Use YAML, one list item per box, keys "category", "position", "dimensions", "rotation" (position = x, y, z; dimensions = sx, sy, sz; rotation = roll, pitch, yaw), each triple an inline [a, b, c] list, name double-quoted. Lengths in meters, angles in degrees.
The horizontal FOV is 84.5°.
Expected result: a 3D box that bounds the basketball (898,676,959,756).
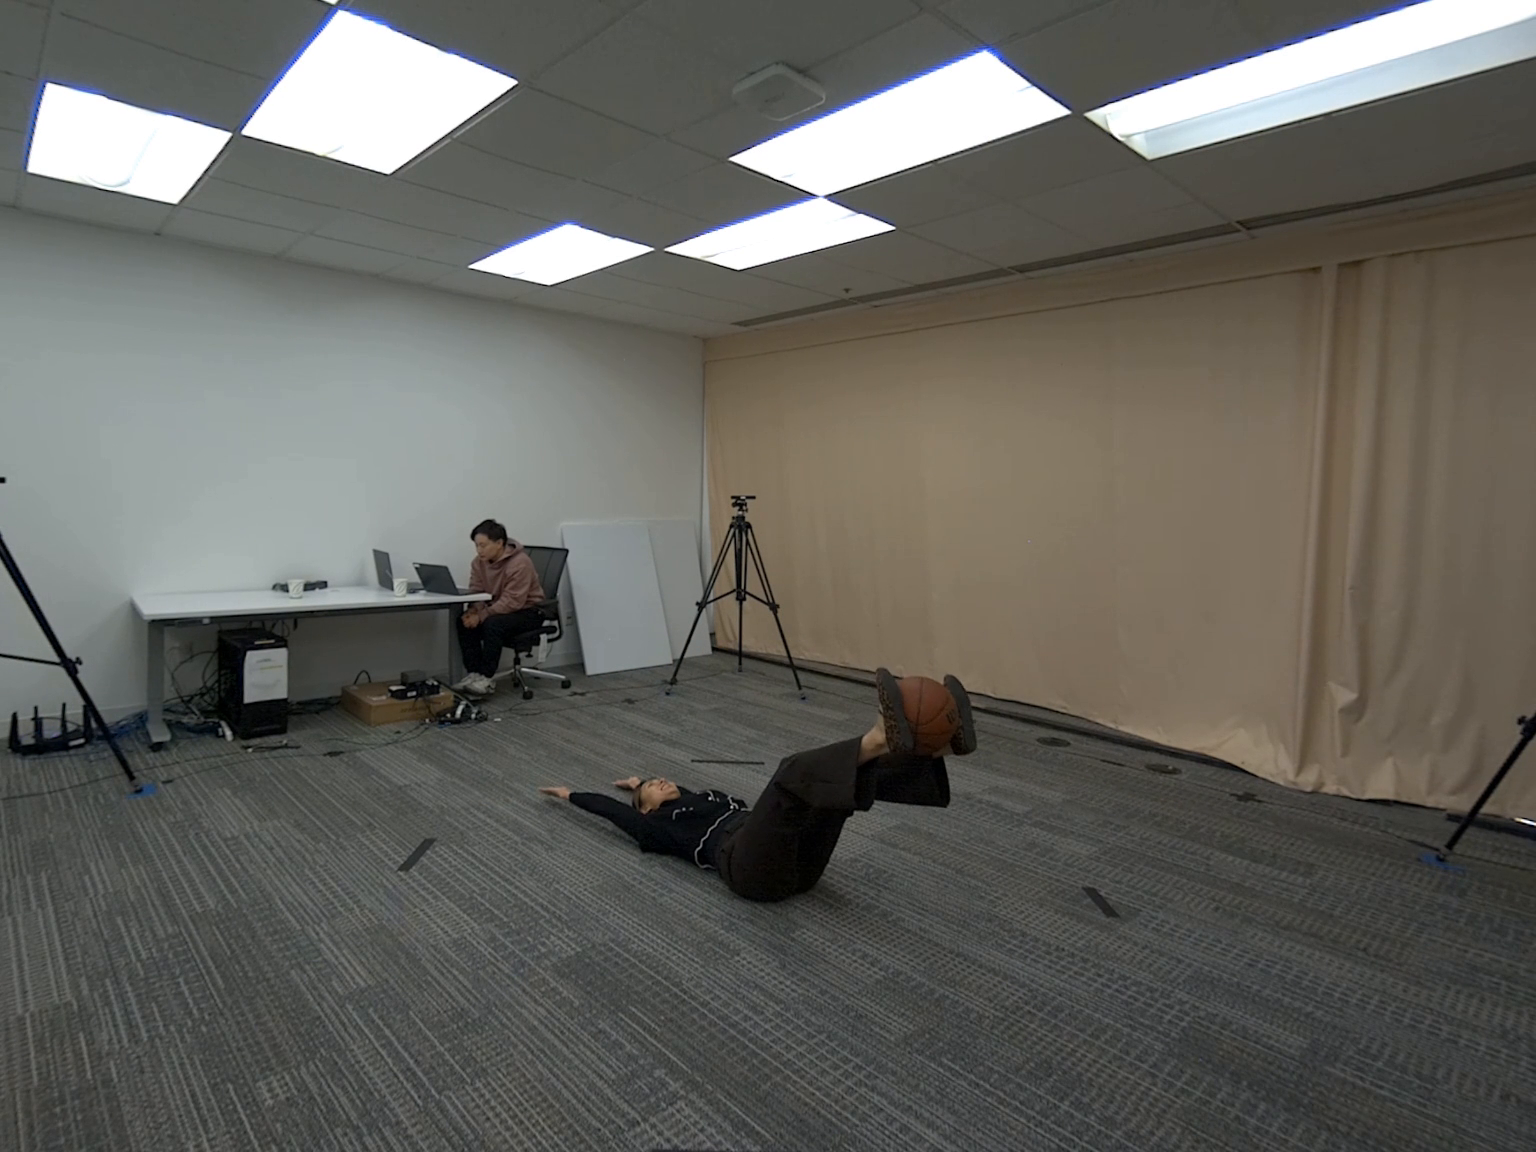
- category: "basketball"
  position: [0.453, 0.426, 2.556]
  dimensions: [0.236, 0.235, 0.237]
  rotation: [1, 4, -1]
